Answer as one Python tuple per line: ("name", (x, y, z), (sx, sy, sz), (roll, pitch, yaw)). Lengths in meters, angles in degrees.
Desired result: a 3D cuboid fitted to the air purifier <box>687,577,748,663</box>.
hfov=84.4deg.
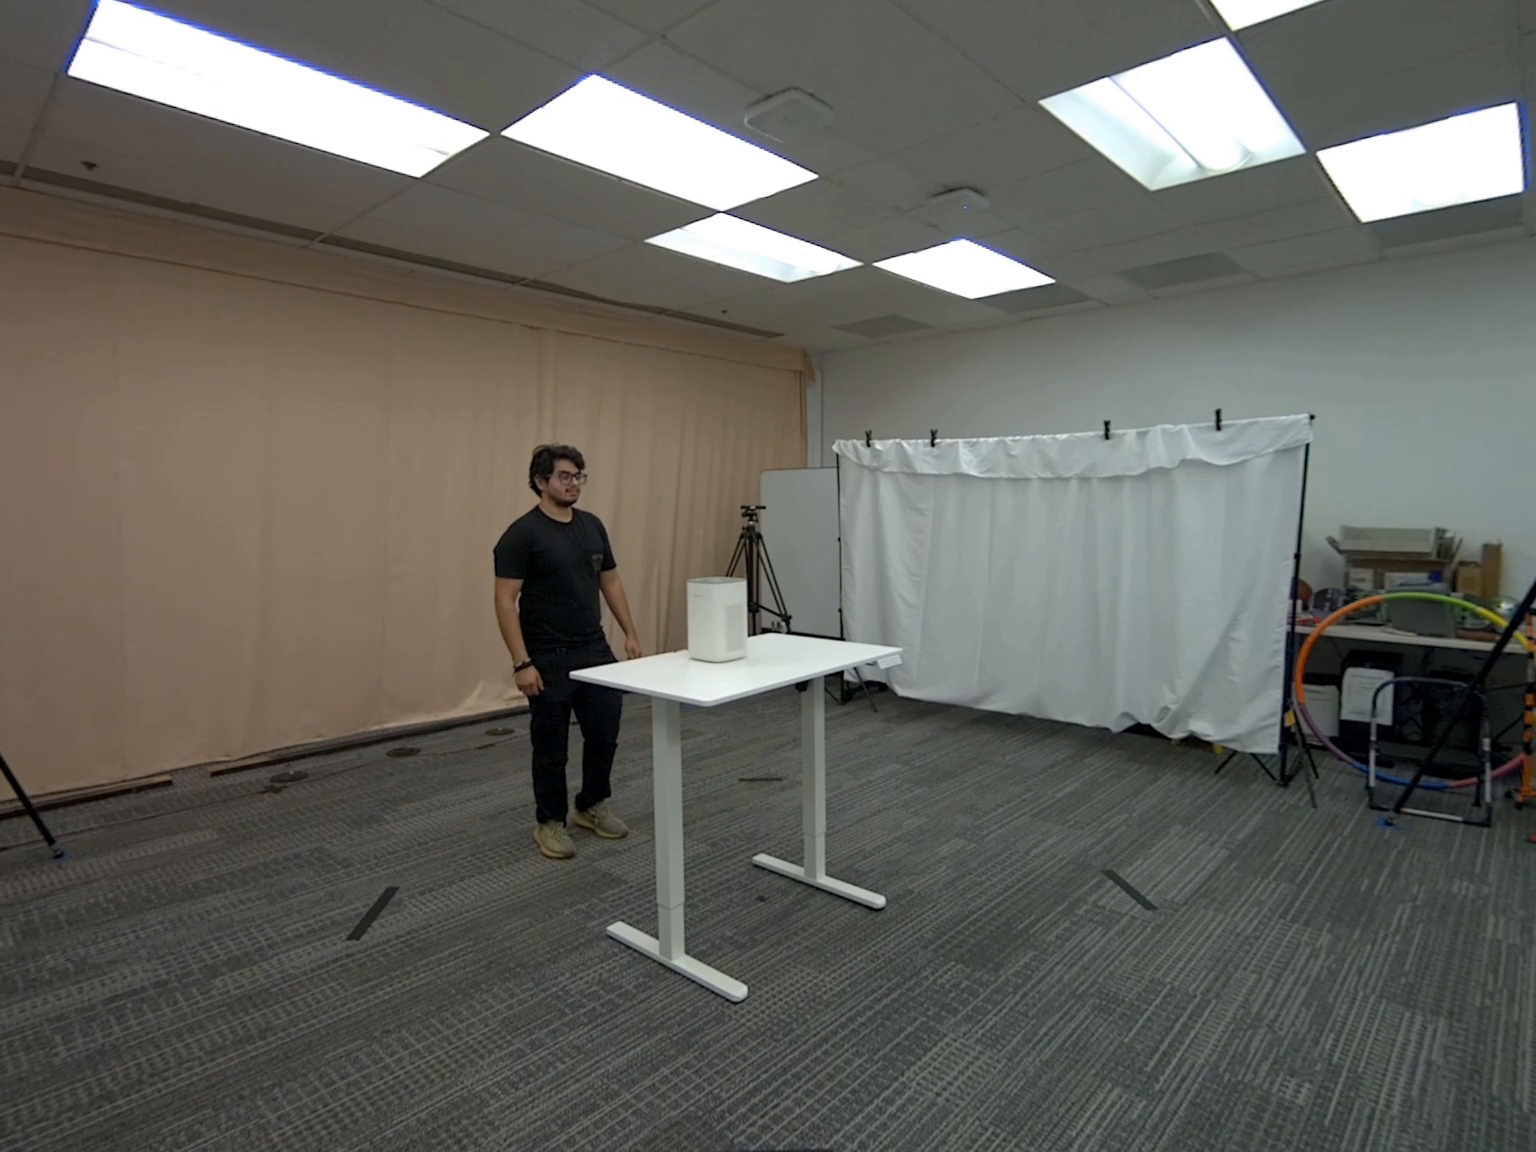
("air purifier", (-0.166, 0.145, 2.807), (0.177, 0.264, 0.166), (3, 6, 41))
